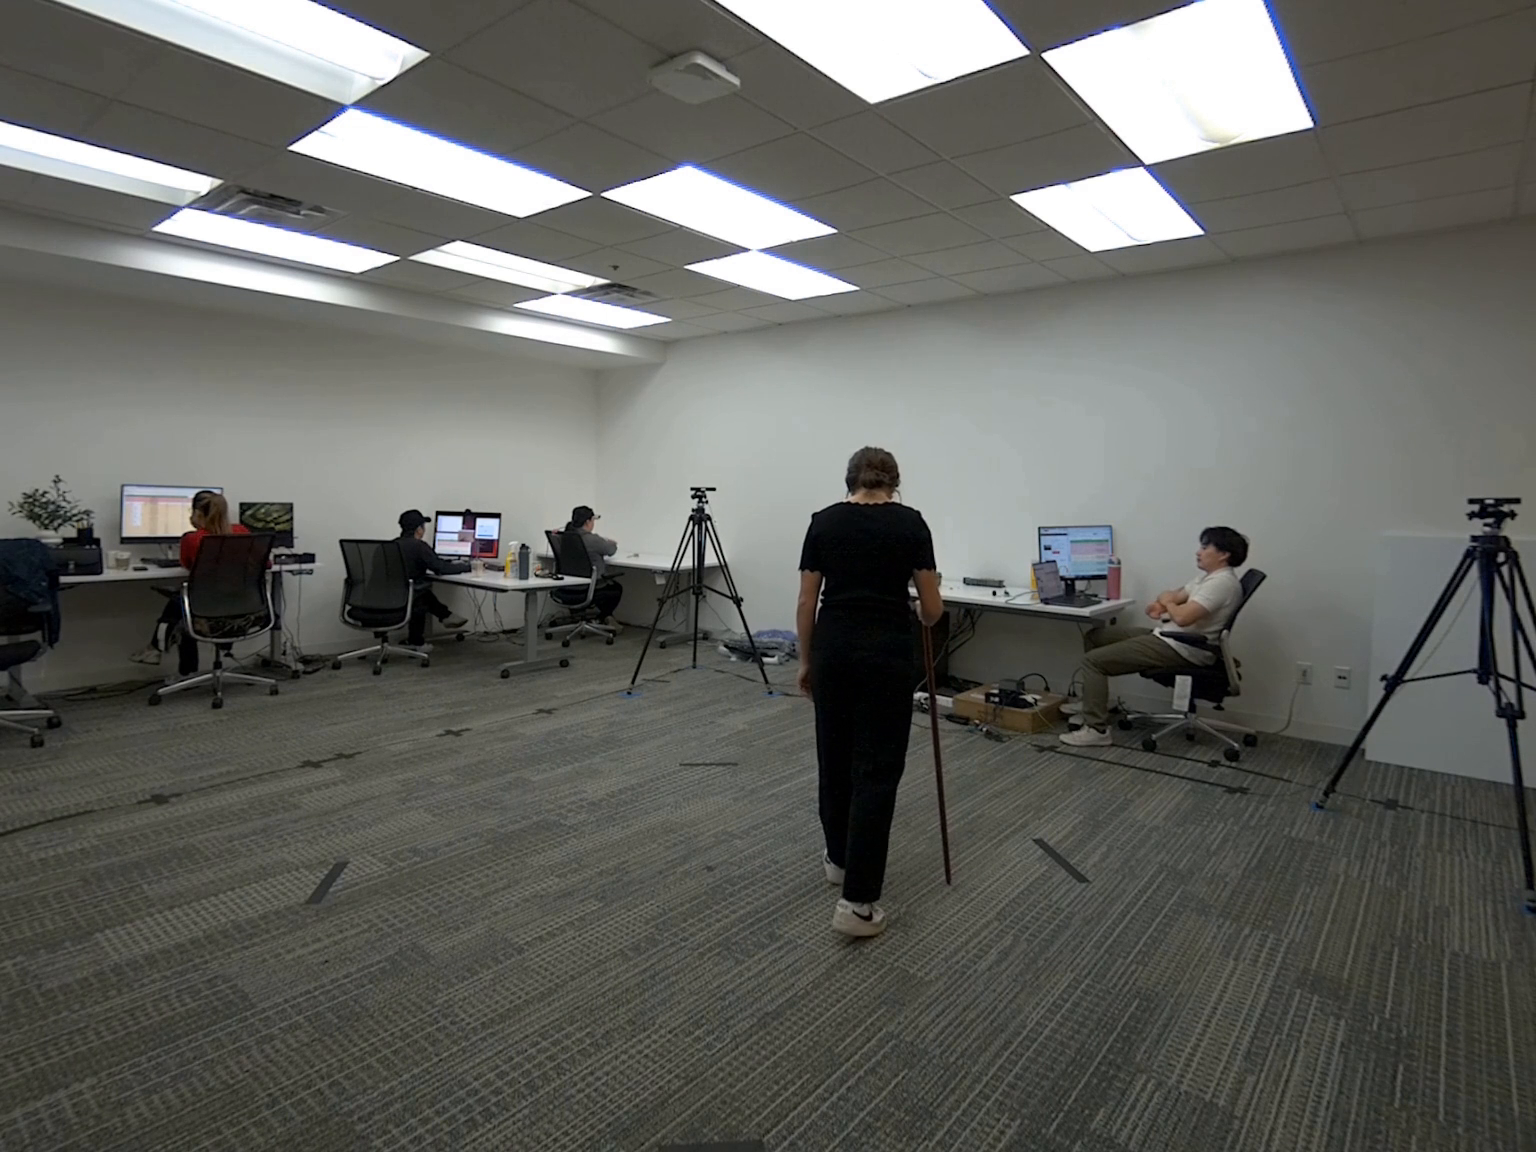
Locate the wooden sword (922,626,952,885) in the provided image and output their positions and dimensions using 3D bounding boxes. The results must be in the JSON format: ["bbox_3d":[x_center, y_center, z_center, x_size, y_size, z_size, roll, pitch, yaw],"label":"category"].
[{"bbox_3d":[0.604,0.606,3.055,0.052,1.028,0.024,-5,-3,11],"label":"wooden sword"}]
